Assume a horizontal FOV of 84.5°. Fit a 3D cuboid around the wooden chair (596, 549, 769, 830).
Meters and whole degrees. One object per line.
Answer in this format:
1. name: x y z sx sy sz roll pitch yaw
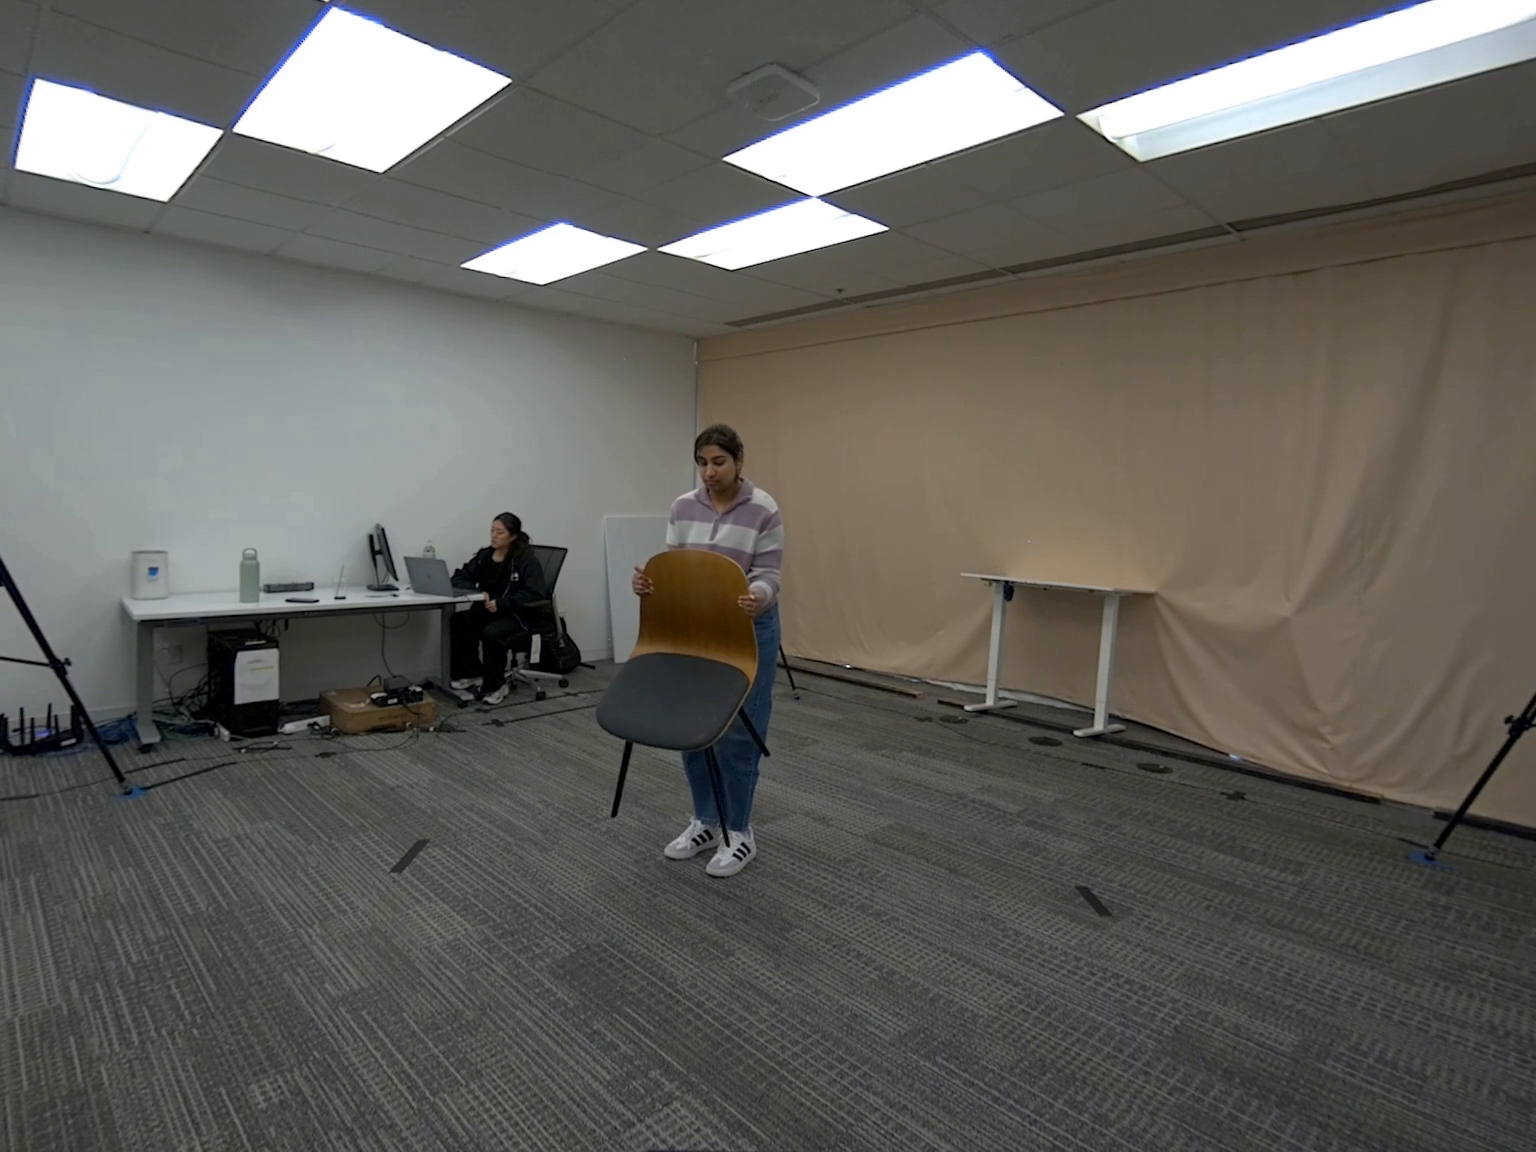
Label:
1. wooden chair: -0.308 0.422 2.875 0.486 0.861 0.524 8 28 19
